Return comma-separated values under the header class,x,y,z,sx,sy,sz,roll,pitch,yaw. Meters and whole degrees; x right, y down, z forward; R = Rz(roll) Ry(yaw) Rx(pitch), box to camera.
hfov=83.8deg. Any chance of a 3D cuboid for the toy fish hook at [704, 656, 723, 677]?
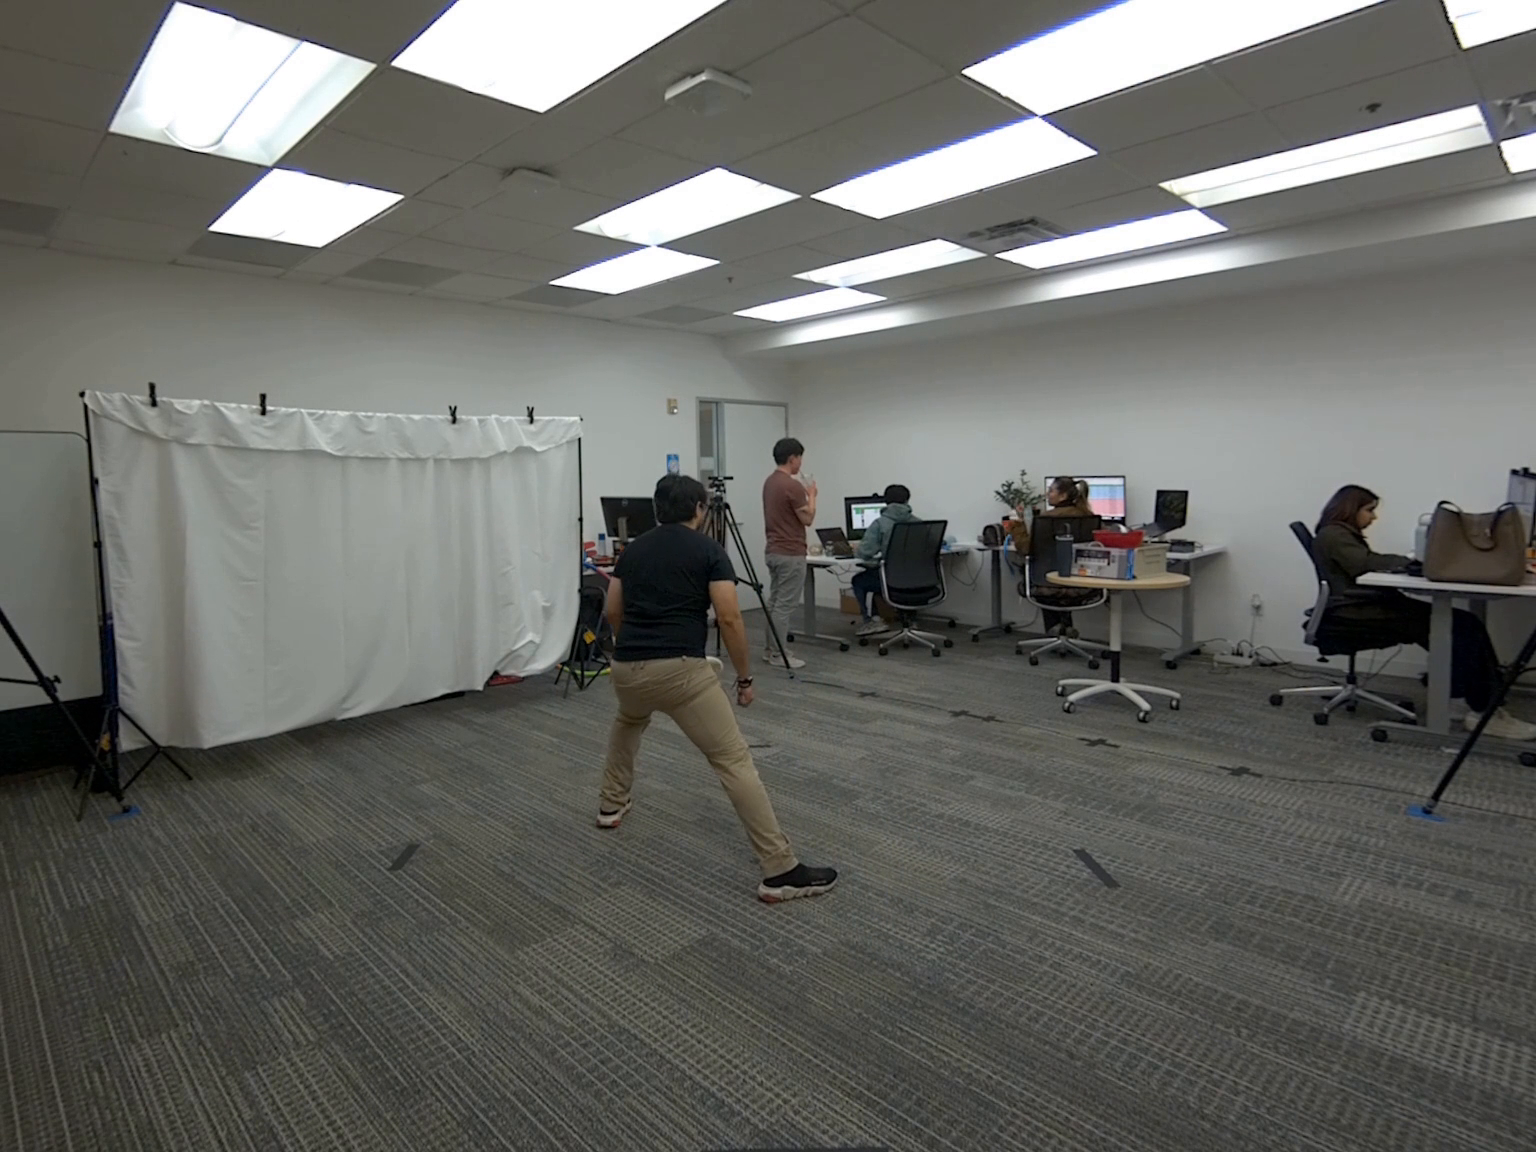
class,x,y,z,sx,sy,sz,roll,pitch,yaw
toy fish hook,-0.390,0.428,3.720,0.488,0.224,0.050,18,24,-48
